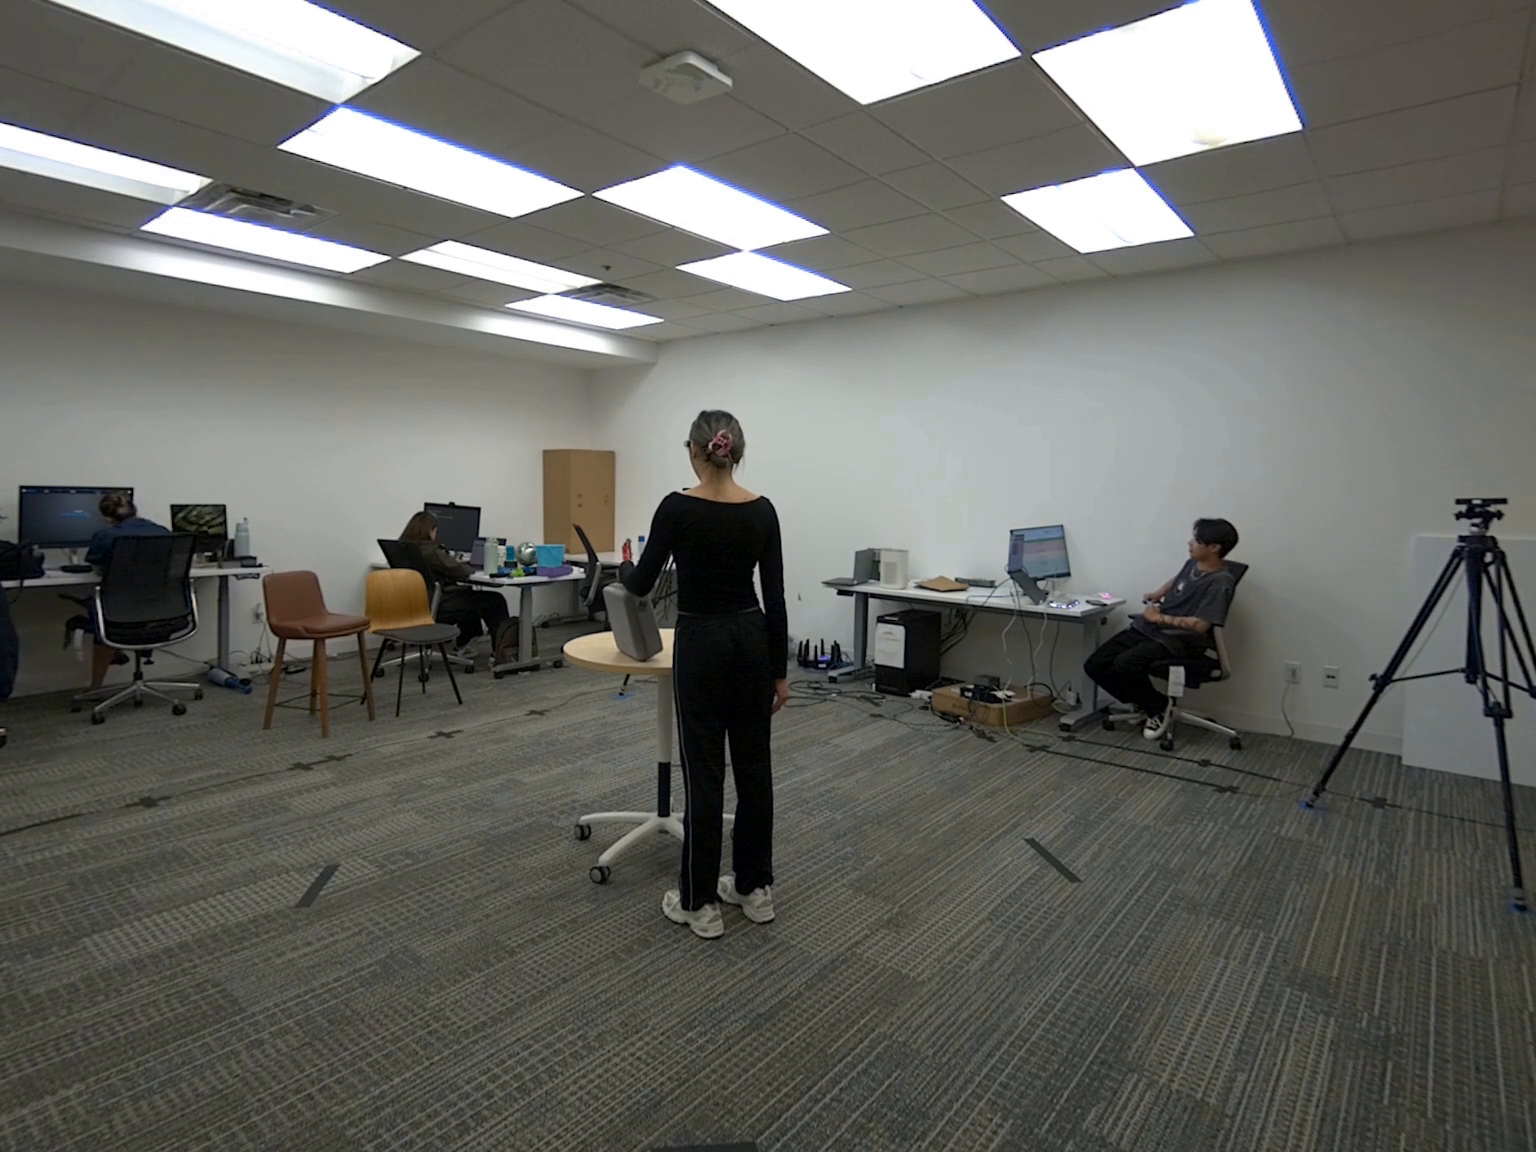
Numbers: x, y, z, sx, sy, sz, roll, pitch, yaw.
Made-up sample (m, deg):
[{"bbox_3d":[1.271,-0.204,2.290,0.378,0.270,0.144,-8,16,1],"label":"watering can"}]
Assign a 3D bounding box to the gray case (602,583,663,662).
[{"bbox_3d":[-0.494,0.148,3.017,0.102,0.258,0.264,-15,10,-25],"label":"gray case"}]
